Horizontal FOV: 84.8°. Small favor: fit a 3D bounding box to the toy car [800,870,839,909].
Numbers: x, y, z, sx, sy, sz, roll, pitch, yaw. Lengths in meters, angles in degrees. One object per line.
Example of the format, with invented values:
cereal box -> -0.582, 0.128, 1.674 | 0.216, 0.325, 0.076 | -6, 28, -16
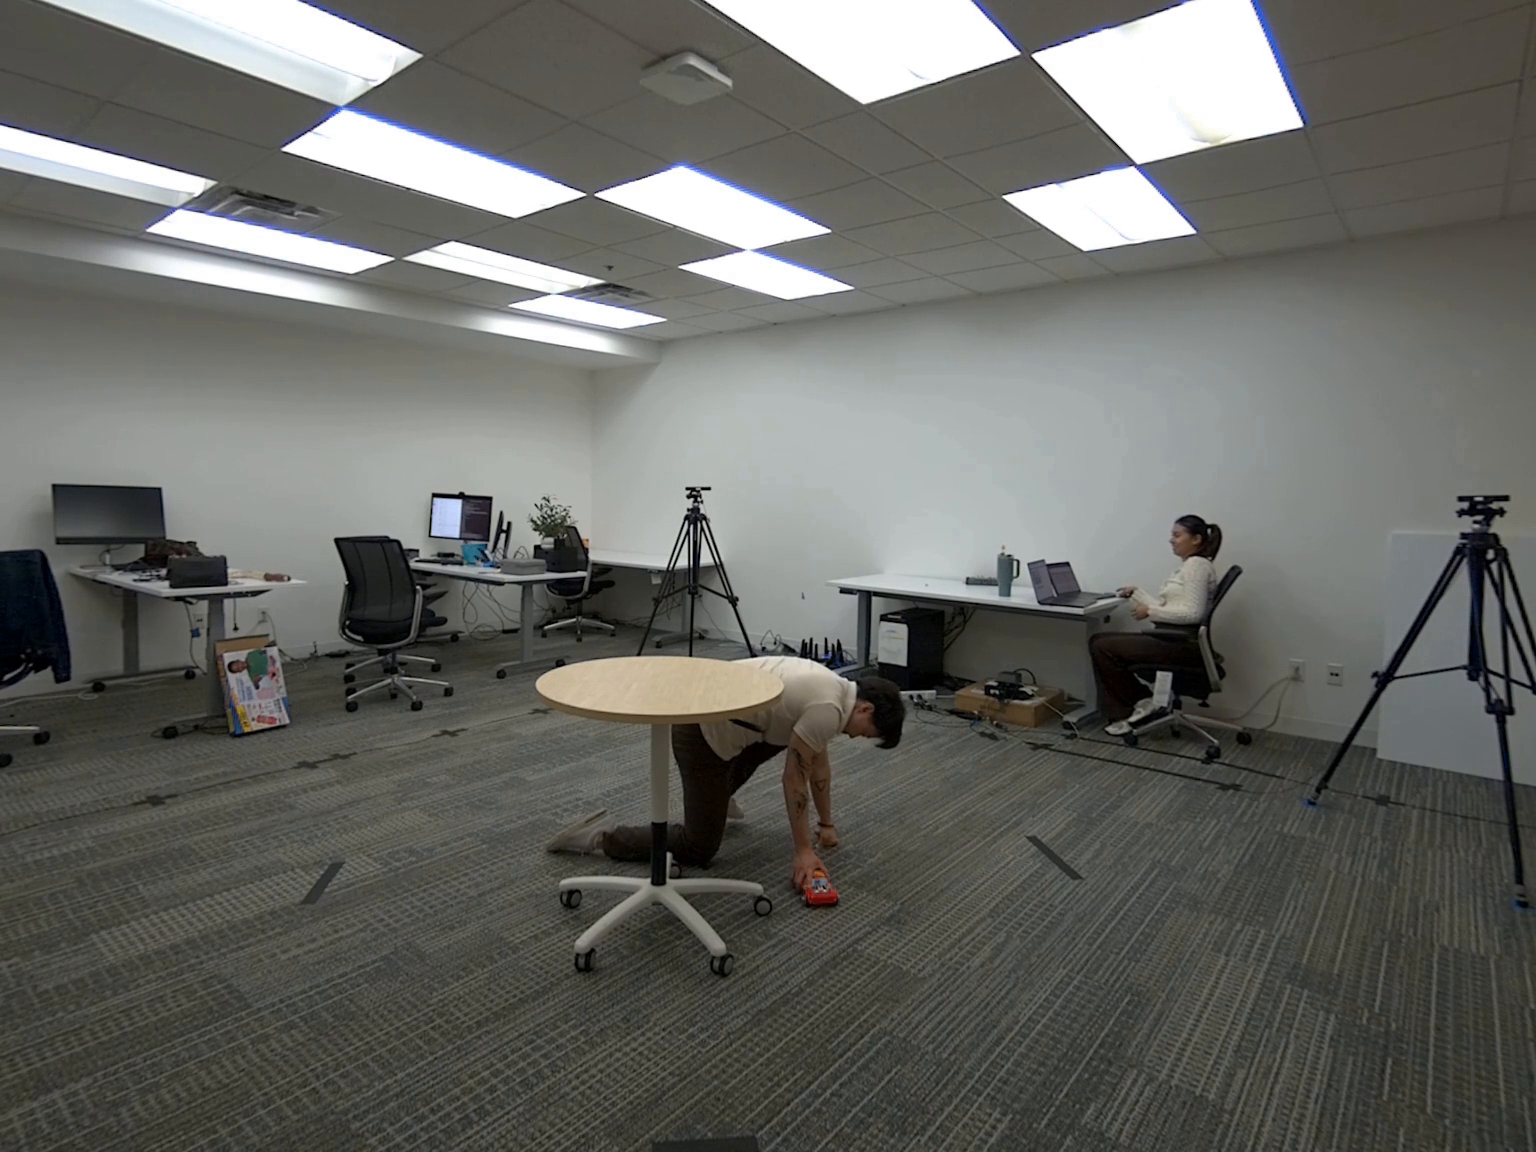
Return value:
toy car -> 0.157, 1.059, 2.944 | 0.129, 0.082, 0.261 | -1, 18, -11
